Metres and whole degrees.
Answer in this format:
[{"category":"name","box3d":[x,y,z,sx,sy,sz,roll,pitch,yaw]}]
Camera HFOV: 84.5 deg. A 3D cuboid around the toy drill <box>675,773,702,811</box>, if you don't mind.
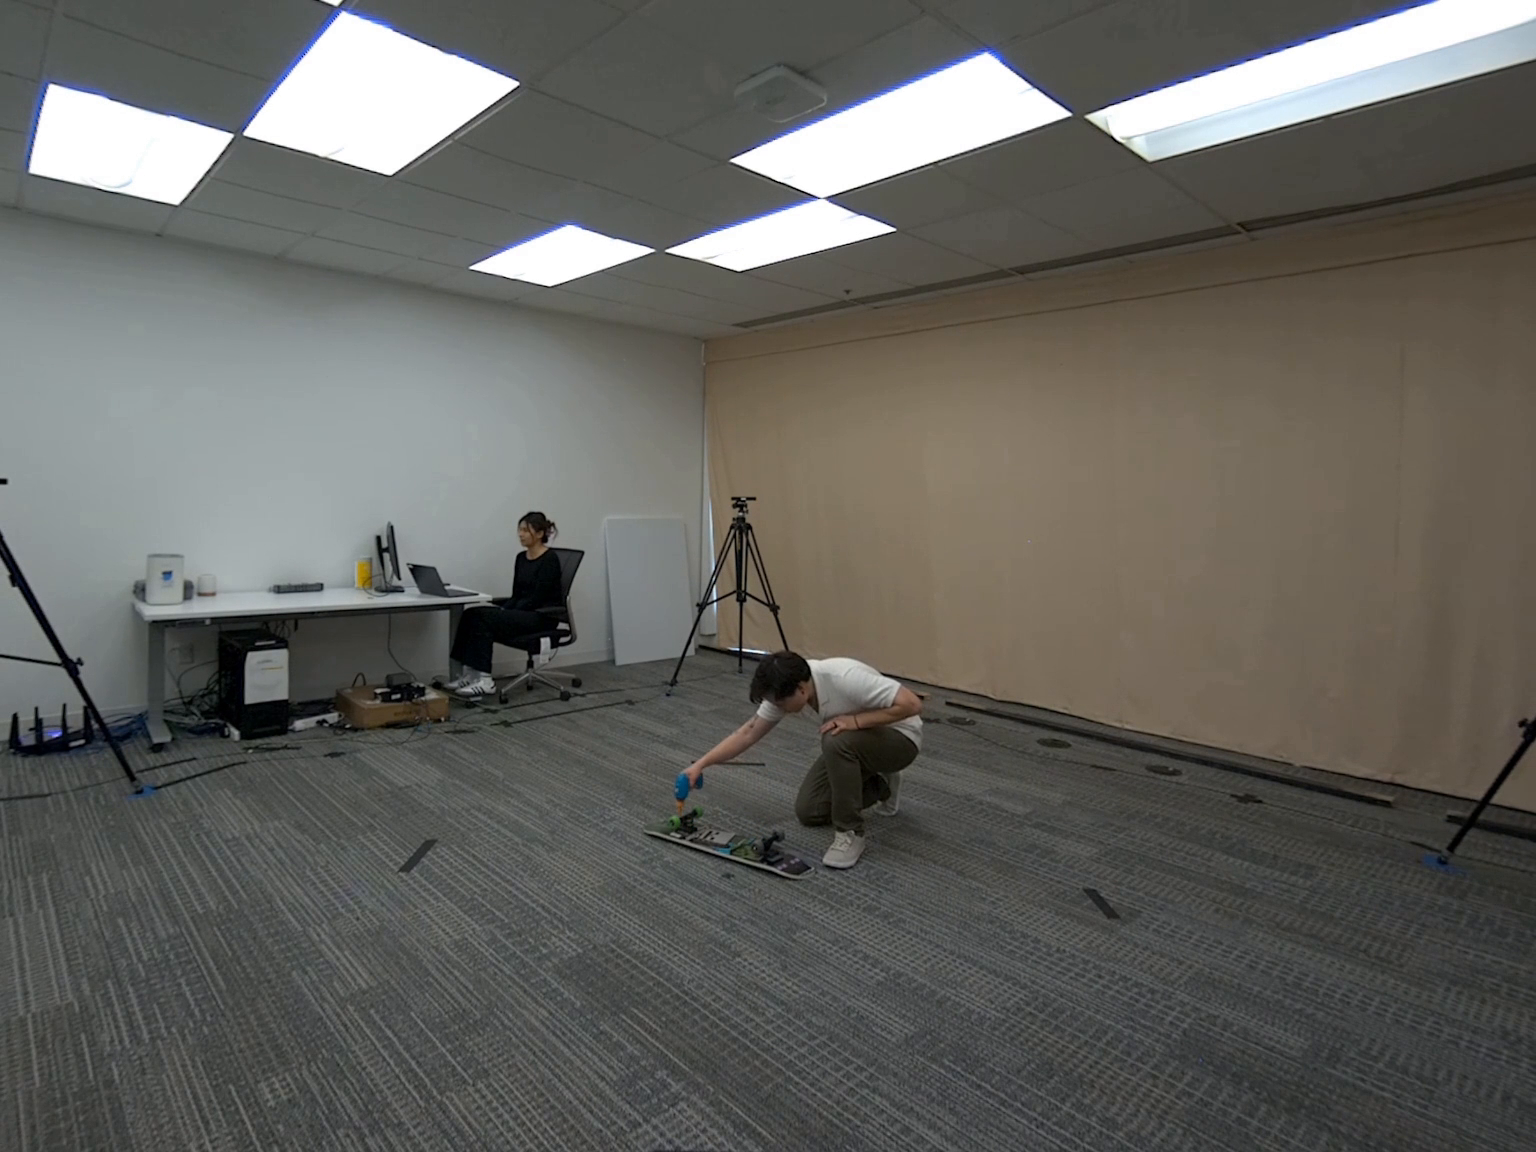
[{"category":"toy drill","box3d":[-0.340,0.892,3.476,0.062,0.170,0.142,5,0,32]}]
